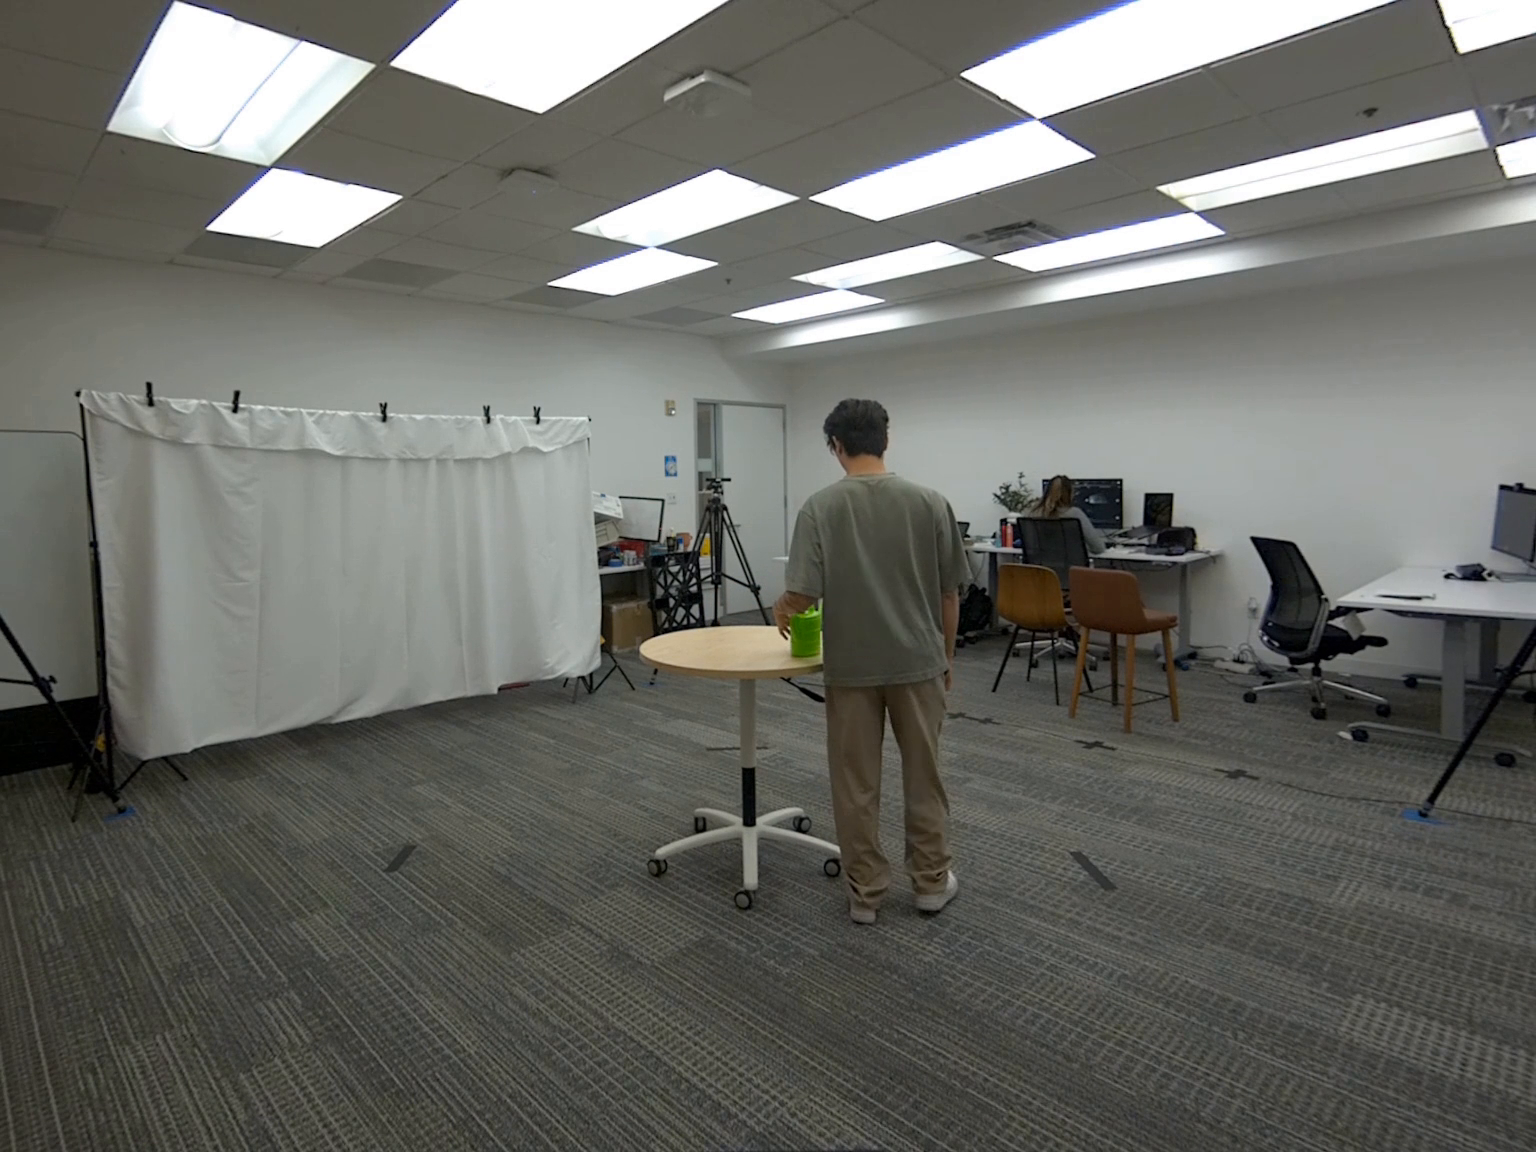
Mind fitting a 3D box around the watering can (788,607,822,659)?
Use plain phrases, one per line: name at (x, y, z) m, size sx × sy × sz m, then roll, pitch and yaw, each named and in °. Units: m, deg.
watering can at (0.166, 0.175, 2.934) m, size 0.271 × 0.176 × 0.101 m, roll -9°, pitch 10°, yaw -42°
